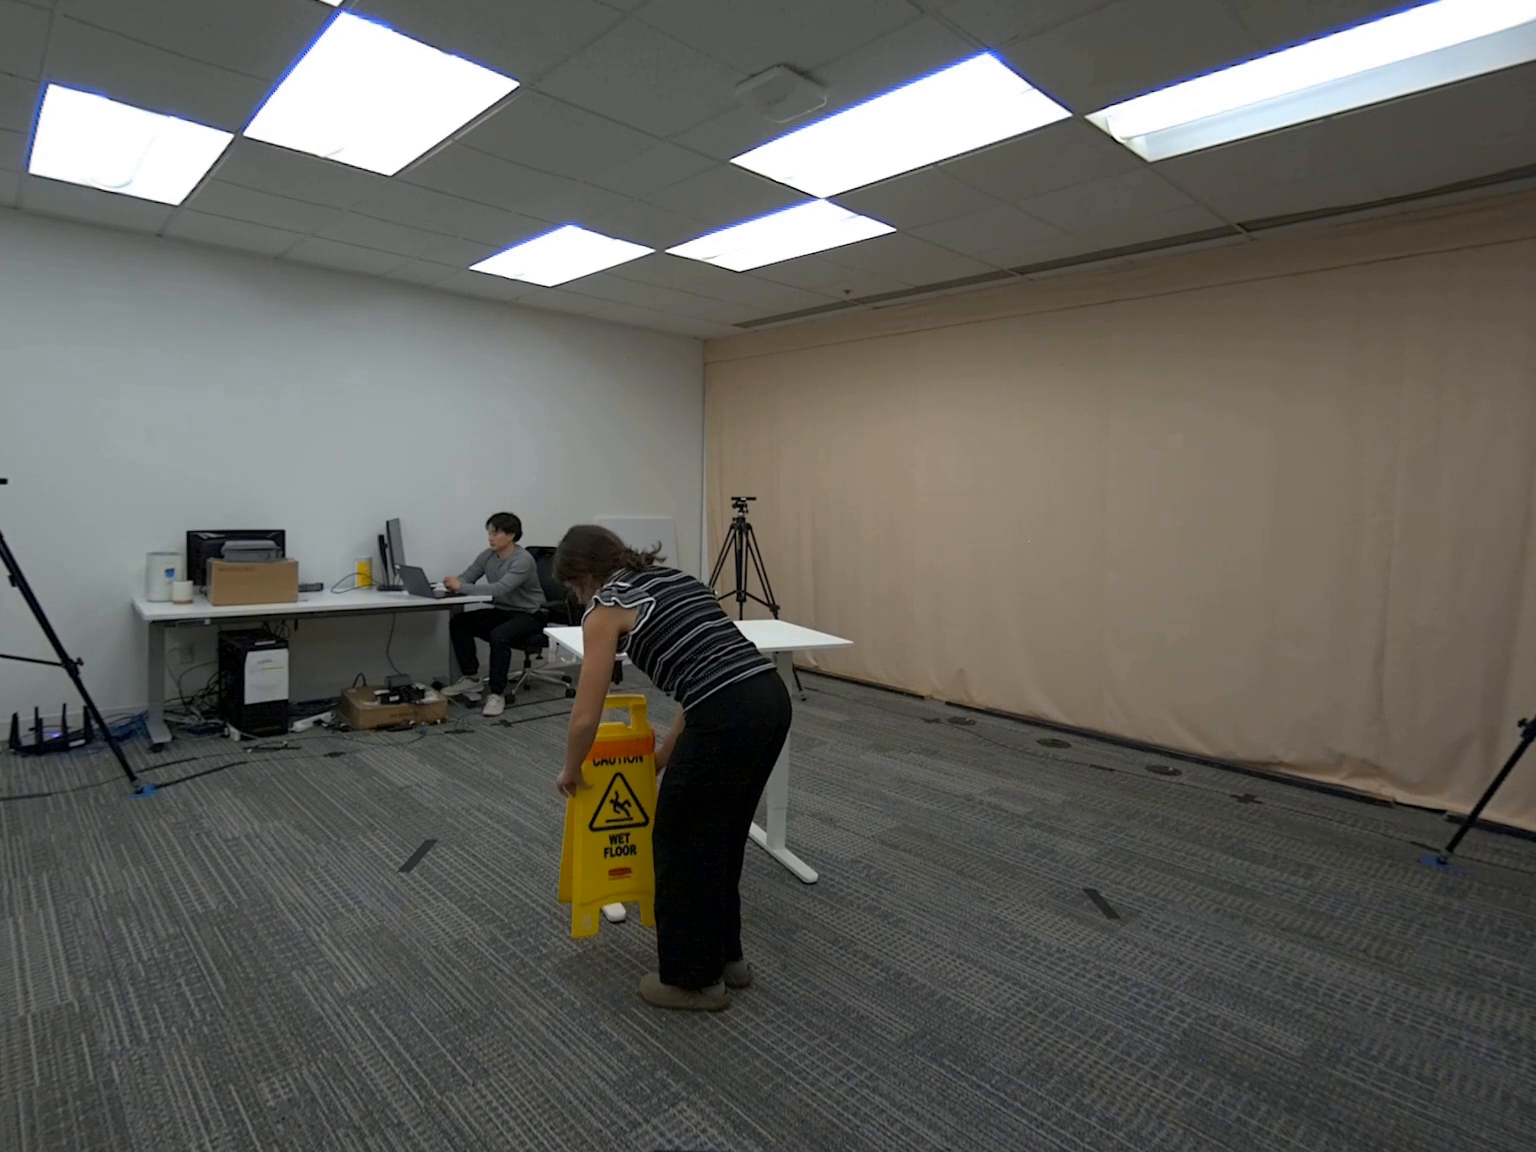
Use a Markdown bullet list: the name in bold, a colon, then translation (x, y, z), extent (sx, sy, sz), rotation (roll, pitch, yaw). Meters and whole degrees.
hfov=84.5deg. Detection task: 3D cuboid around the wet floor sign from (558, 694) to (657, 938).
- **wet floor sign**: translation (-0.471, 0.684, 2.500), extent (0.277, 0.646, 0.295), rotation (0, 1, -23)
